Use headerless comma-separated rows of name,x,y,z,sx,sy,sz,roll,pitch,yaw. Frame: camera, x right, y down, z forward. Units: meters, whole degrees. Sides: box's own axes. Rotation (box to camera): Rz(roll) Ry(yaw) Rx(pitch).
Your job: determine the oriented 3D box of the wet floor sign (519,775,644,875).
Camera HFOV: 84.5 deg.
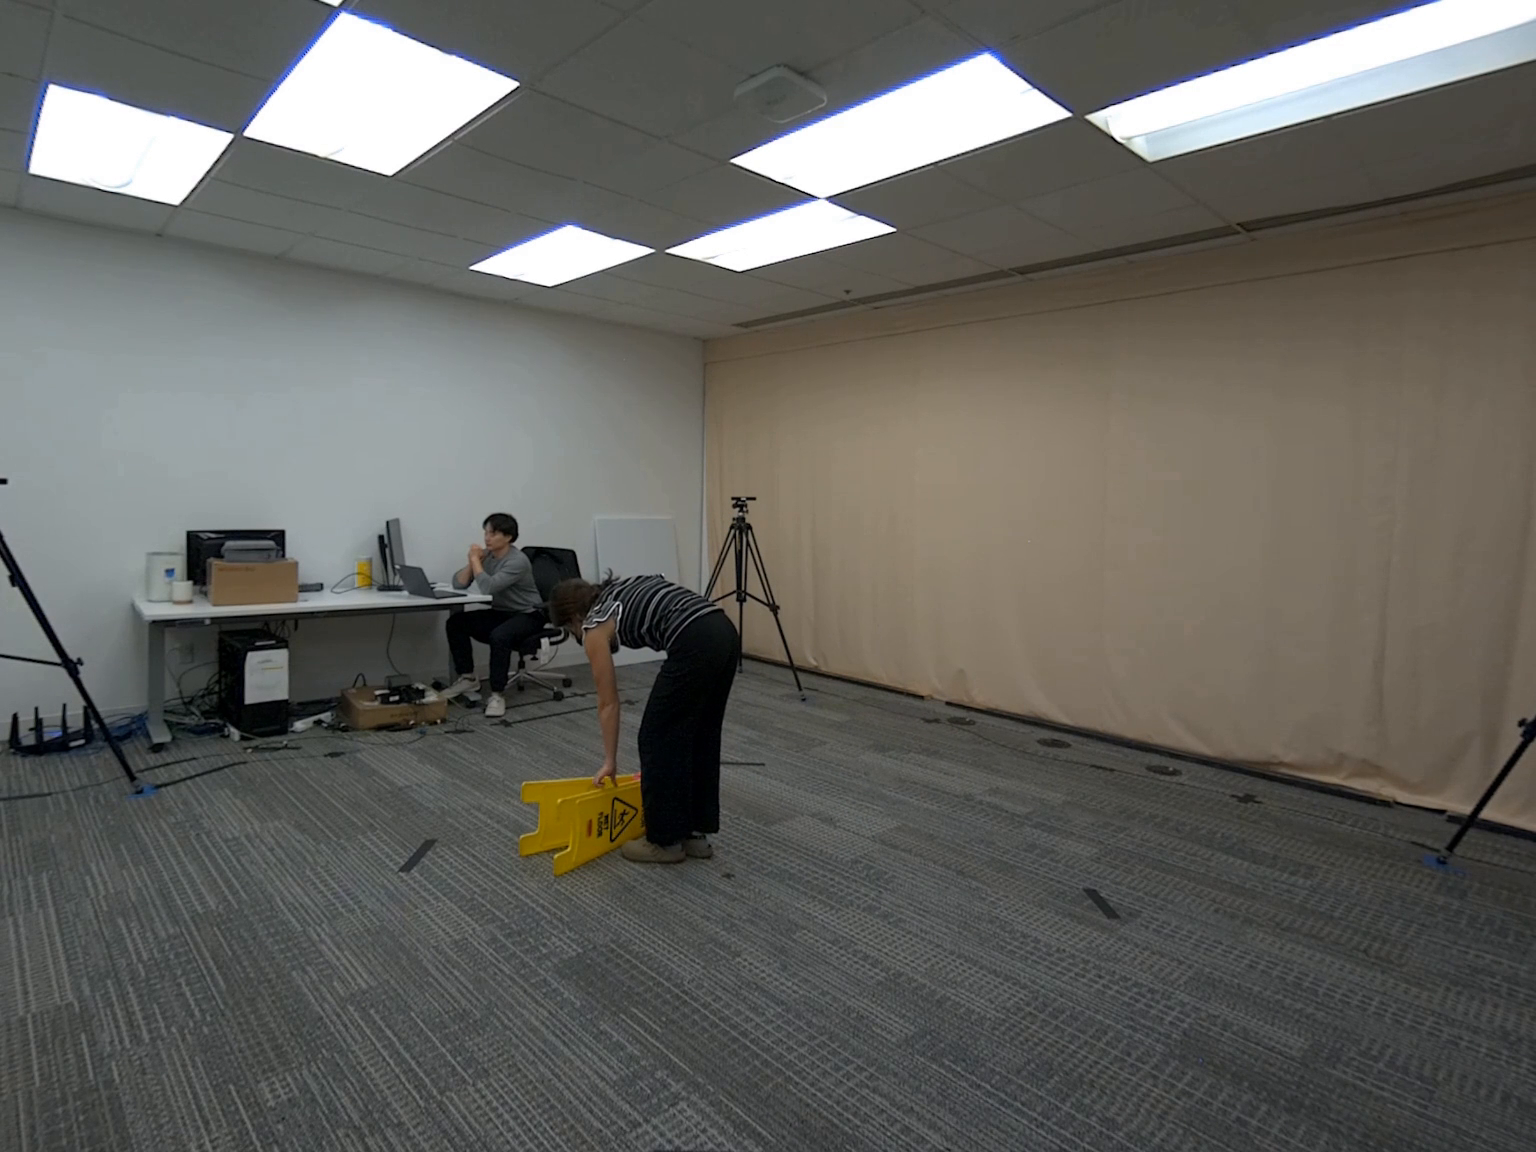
wet floor sign,-0.654,0.947,3.378,0.297,0.282,0.630,4,2,42
